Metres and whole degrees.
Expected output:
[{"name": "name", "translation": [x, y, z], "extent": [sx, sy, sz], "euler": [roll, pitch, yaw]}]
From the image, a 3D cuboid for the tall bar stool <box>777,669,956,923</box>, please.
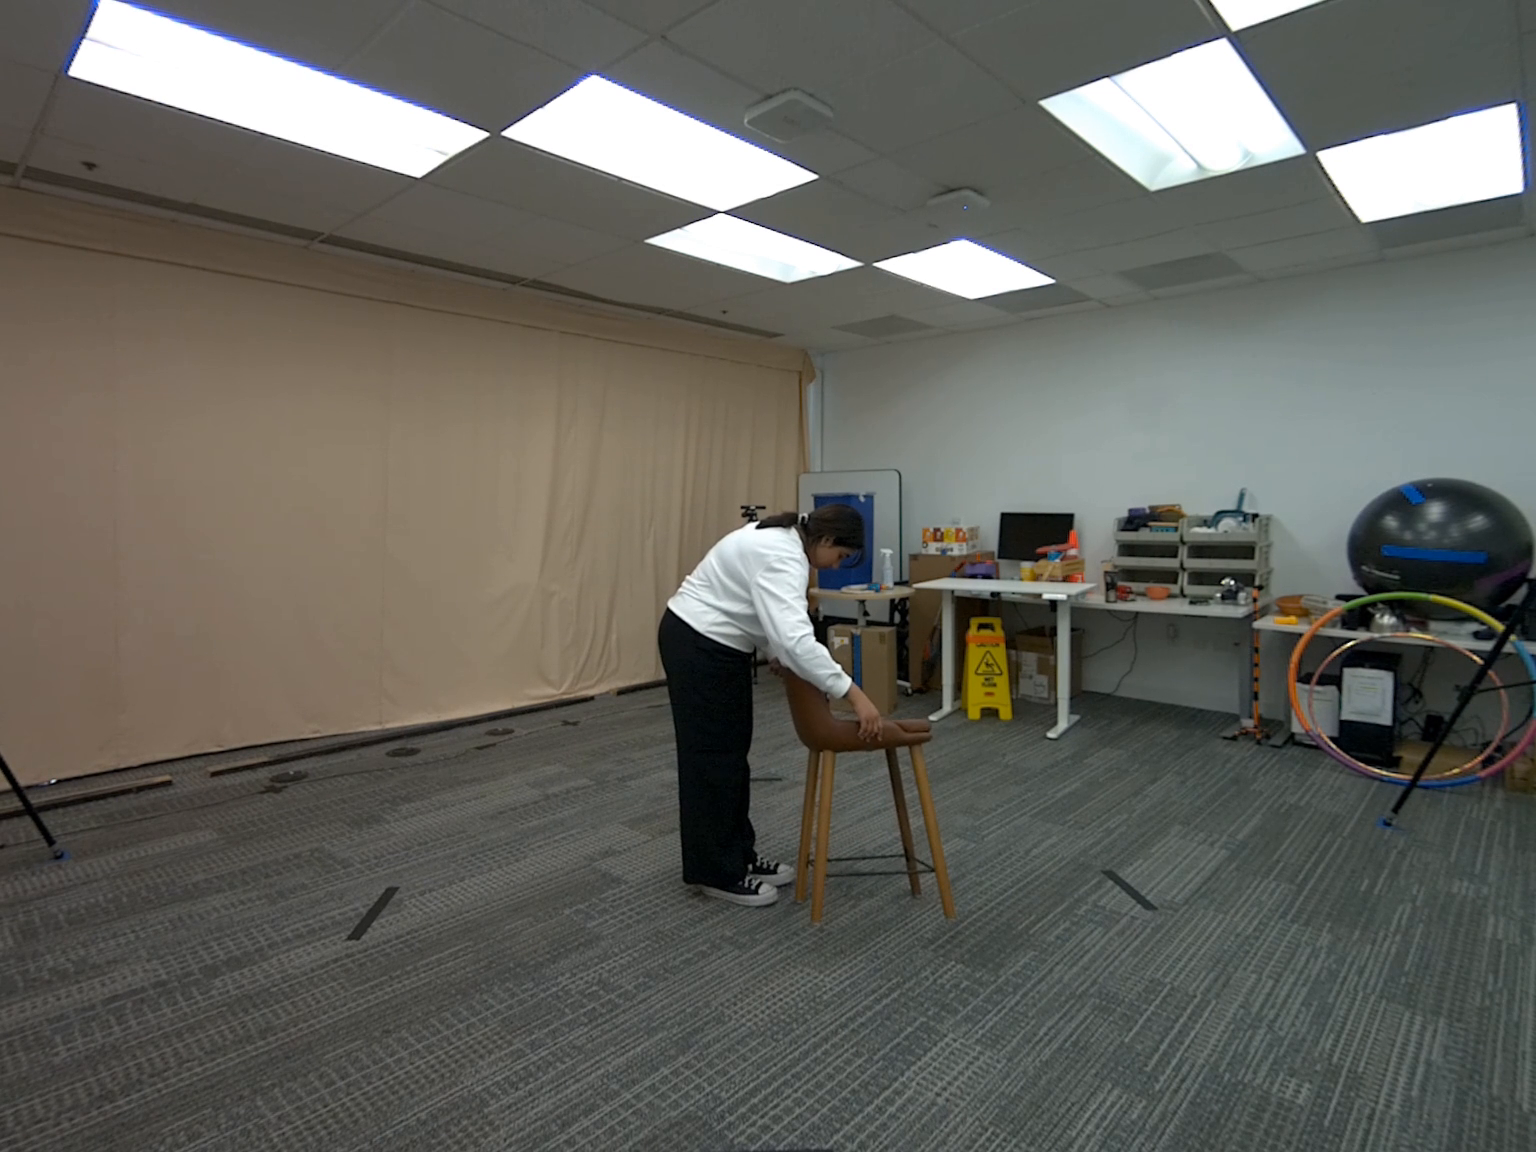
[{"name": "tall bar stool", "translation": [0.326, 0.685, 2.882], "extent": [0.465, 0.897, 0.455], "euler": [-3, -12, -7]}]
